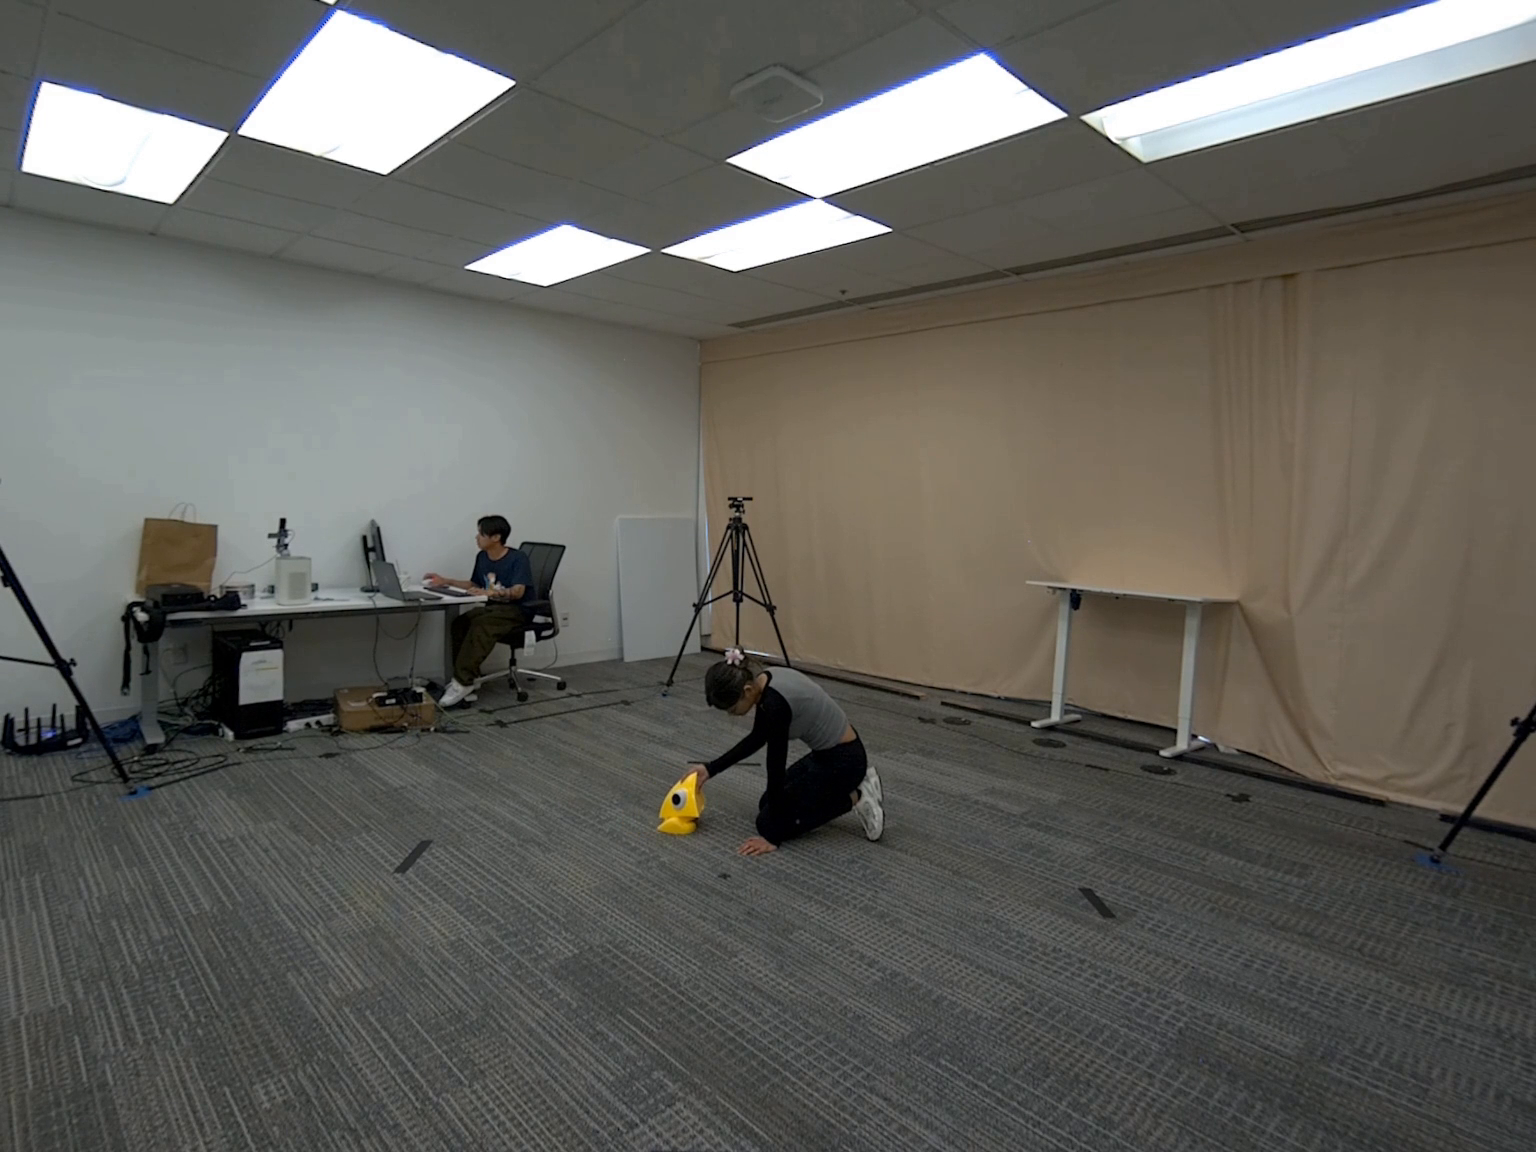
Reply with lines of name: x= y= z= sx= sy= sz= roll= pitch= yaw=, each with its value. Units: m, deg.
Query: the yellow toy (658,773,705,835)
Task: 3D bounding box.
yellow toy: x=-0.376 y=0.942 z=3.579 sx=0.194 sy=0.230 sz=0.204 roll=3 pitch=4 yaw=5
